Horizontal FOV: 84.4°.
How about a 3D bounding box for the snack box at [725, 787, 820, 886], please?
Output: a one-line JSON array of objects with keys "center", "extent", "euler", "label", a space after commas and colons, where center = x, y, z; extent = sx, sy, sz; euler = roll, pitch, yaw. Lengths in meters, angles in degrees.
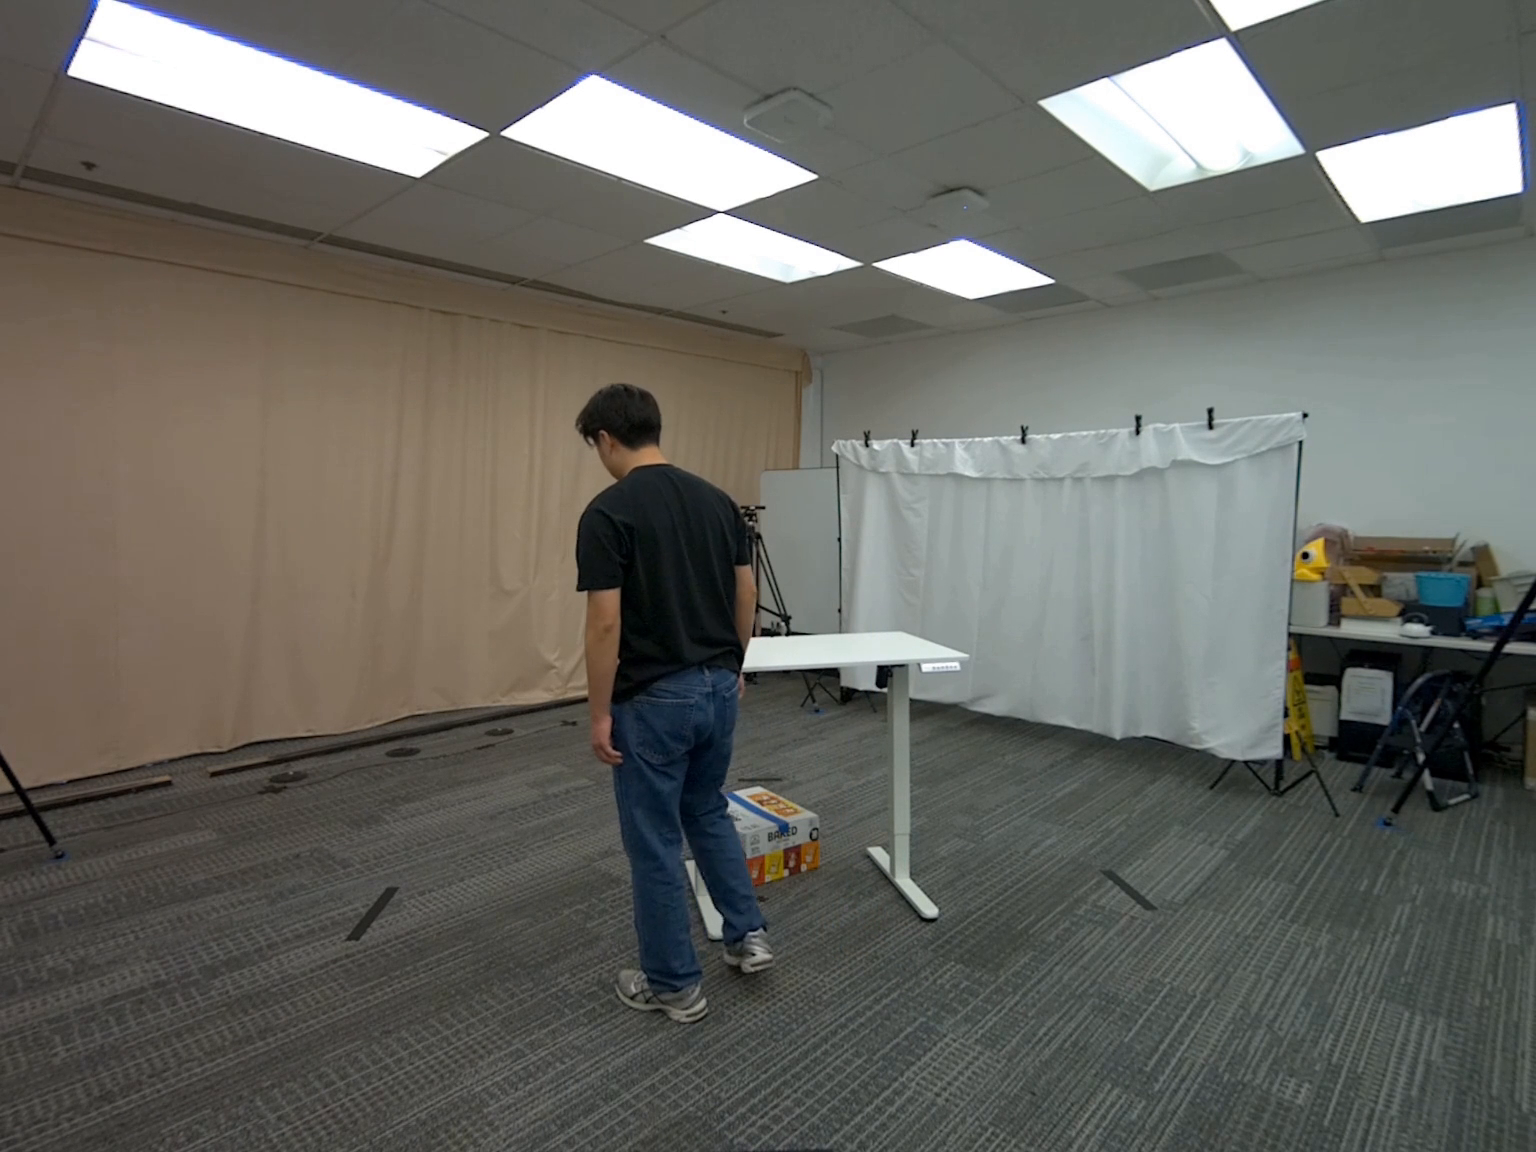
[{"center": [-0.057, 1.015, 3.312], "extent": [0.331, 0.205, 0.418], "euler": [-3, 6, -33], "label": "snack box"}]
